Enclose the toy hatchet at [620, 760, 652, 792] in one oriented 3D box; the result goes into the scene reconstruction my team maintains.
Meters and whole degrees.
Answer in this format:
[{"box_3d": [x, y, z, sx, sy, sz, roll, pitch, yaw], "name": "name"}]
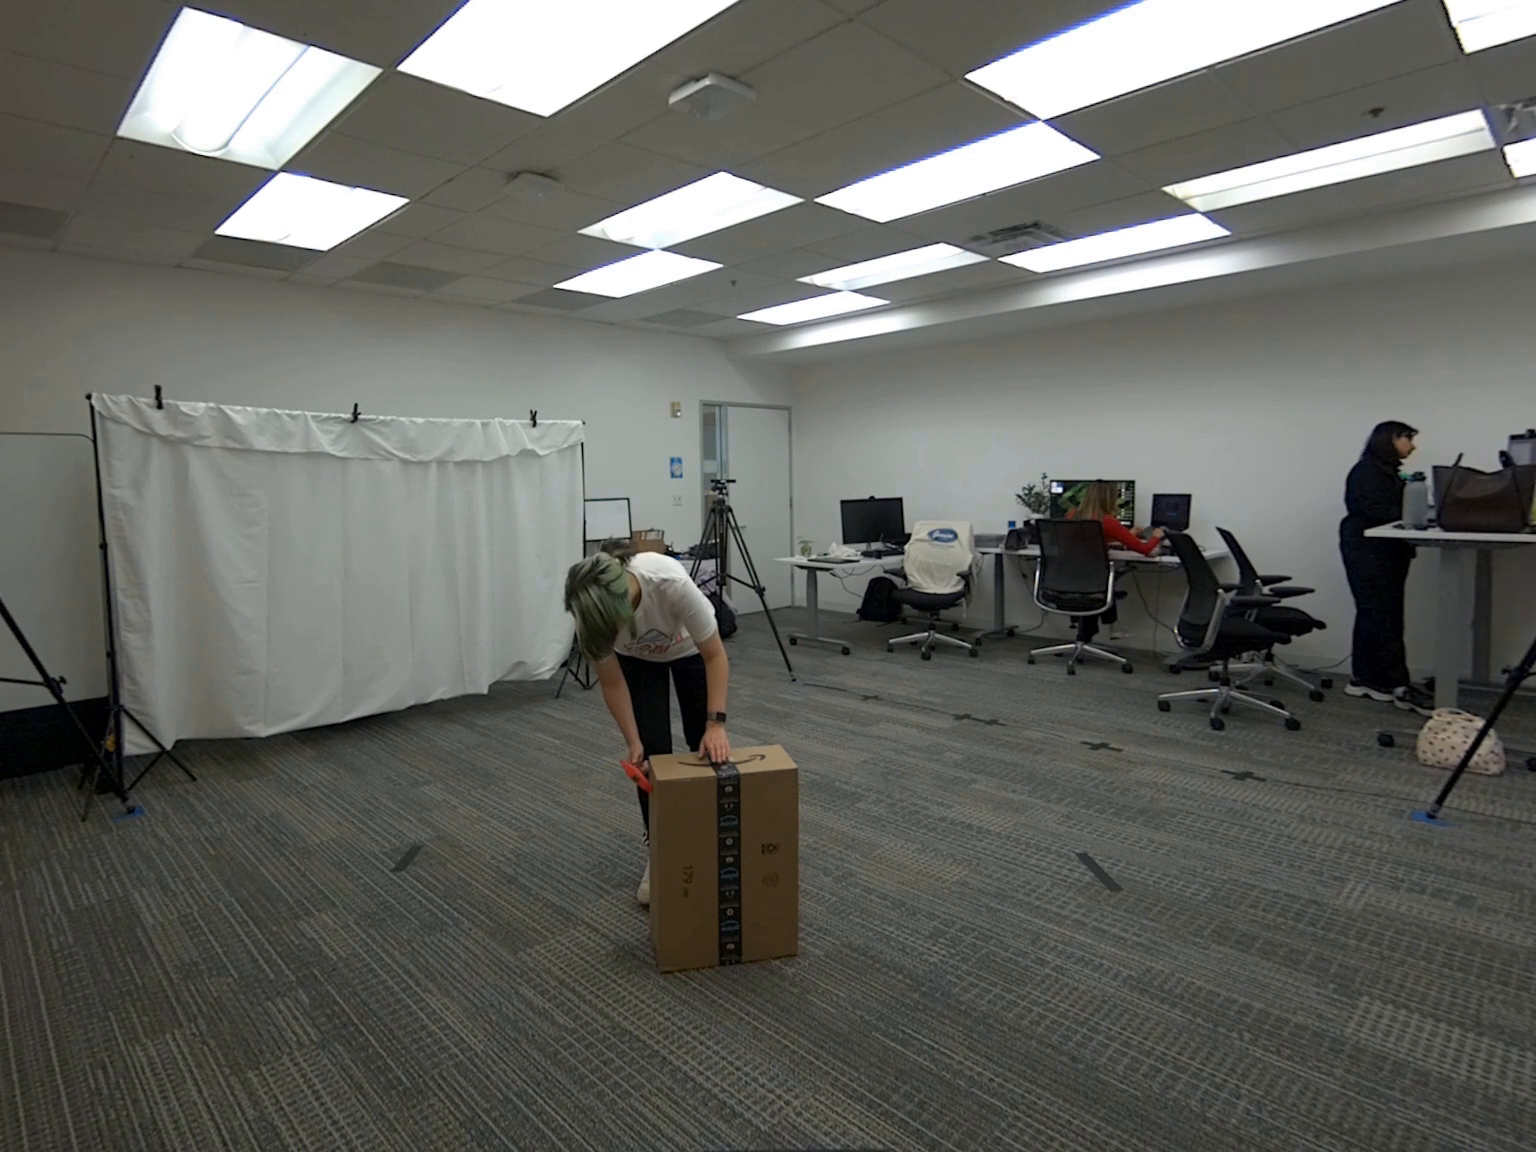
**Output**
[{"box_3d": [-0.367, 0.607, 2.578, 0.134, 0.029, 0.264, 42, -2, 15], "name": "toy hatchet"}]
